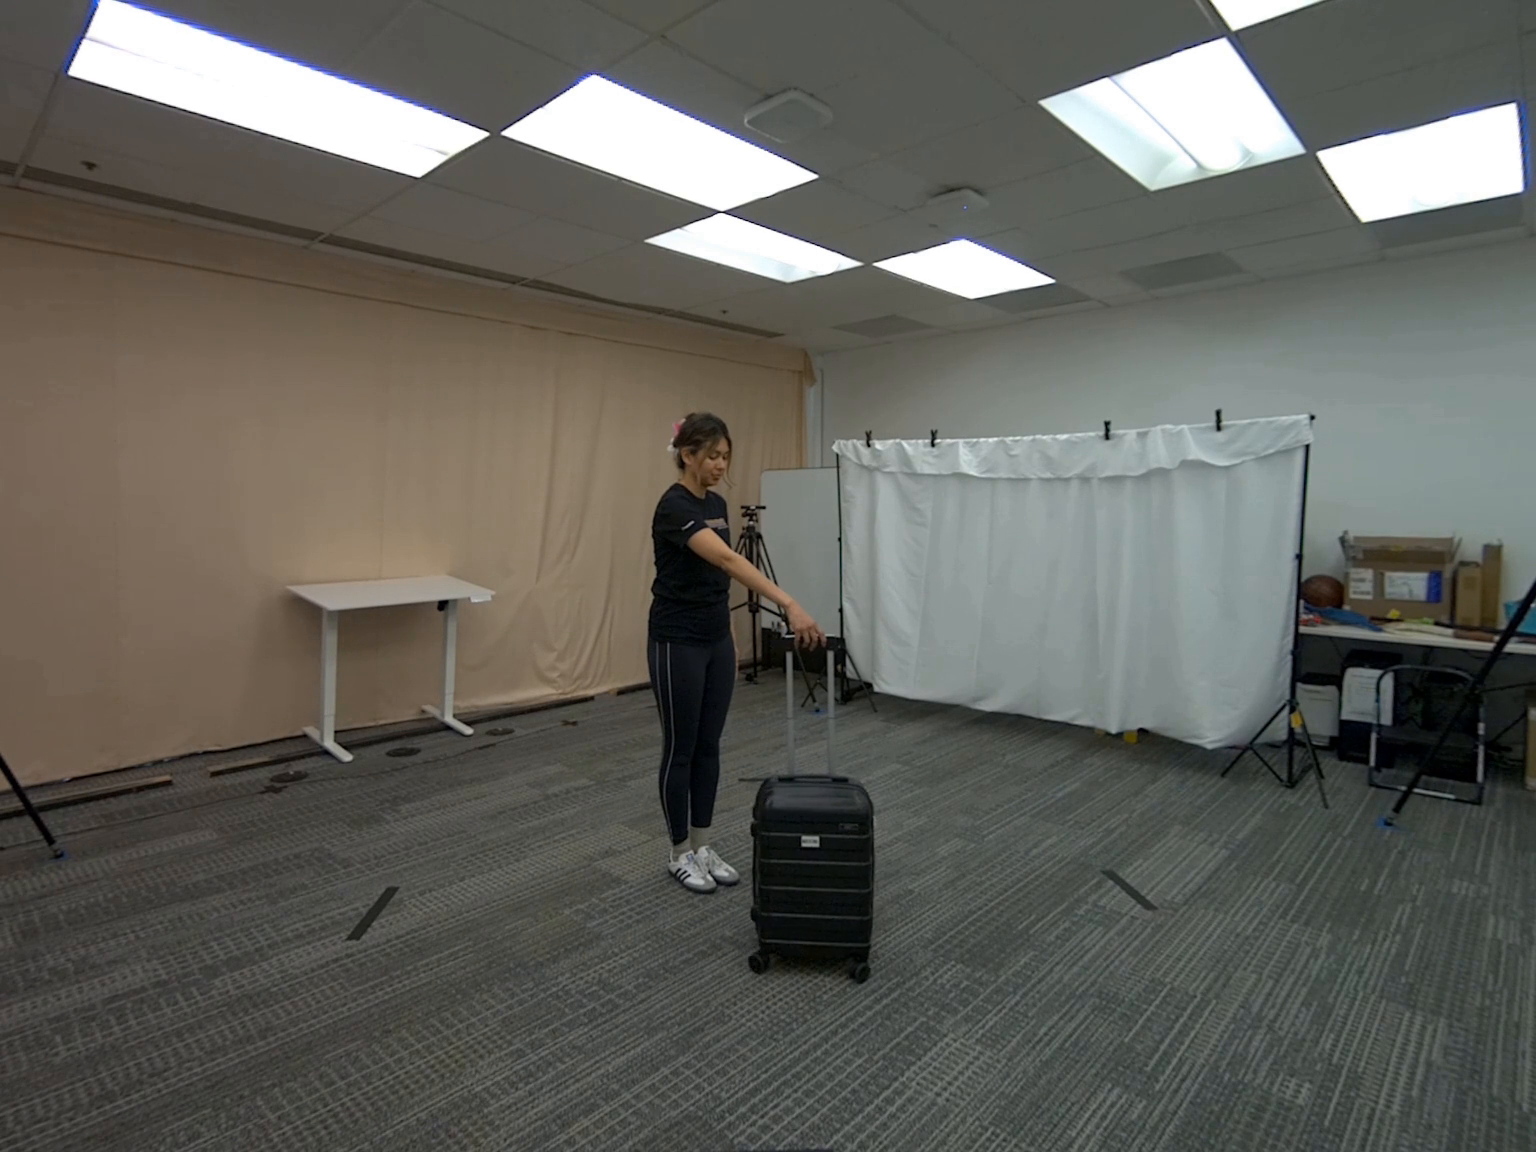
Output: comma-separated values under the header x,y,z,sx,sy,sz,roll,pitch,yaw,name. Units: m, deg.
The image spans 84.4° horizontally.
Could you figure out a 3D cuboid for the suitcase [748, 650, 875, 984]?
x,y,z,sx,sy,sz,roll,pitch,yaw,name
0.140,0.704,2.571,0.386,0.976,0.256,-1,3,4,suitcase
